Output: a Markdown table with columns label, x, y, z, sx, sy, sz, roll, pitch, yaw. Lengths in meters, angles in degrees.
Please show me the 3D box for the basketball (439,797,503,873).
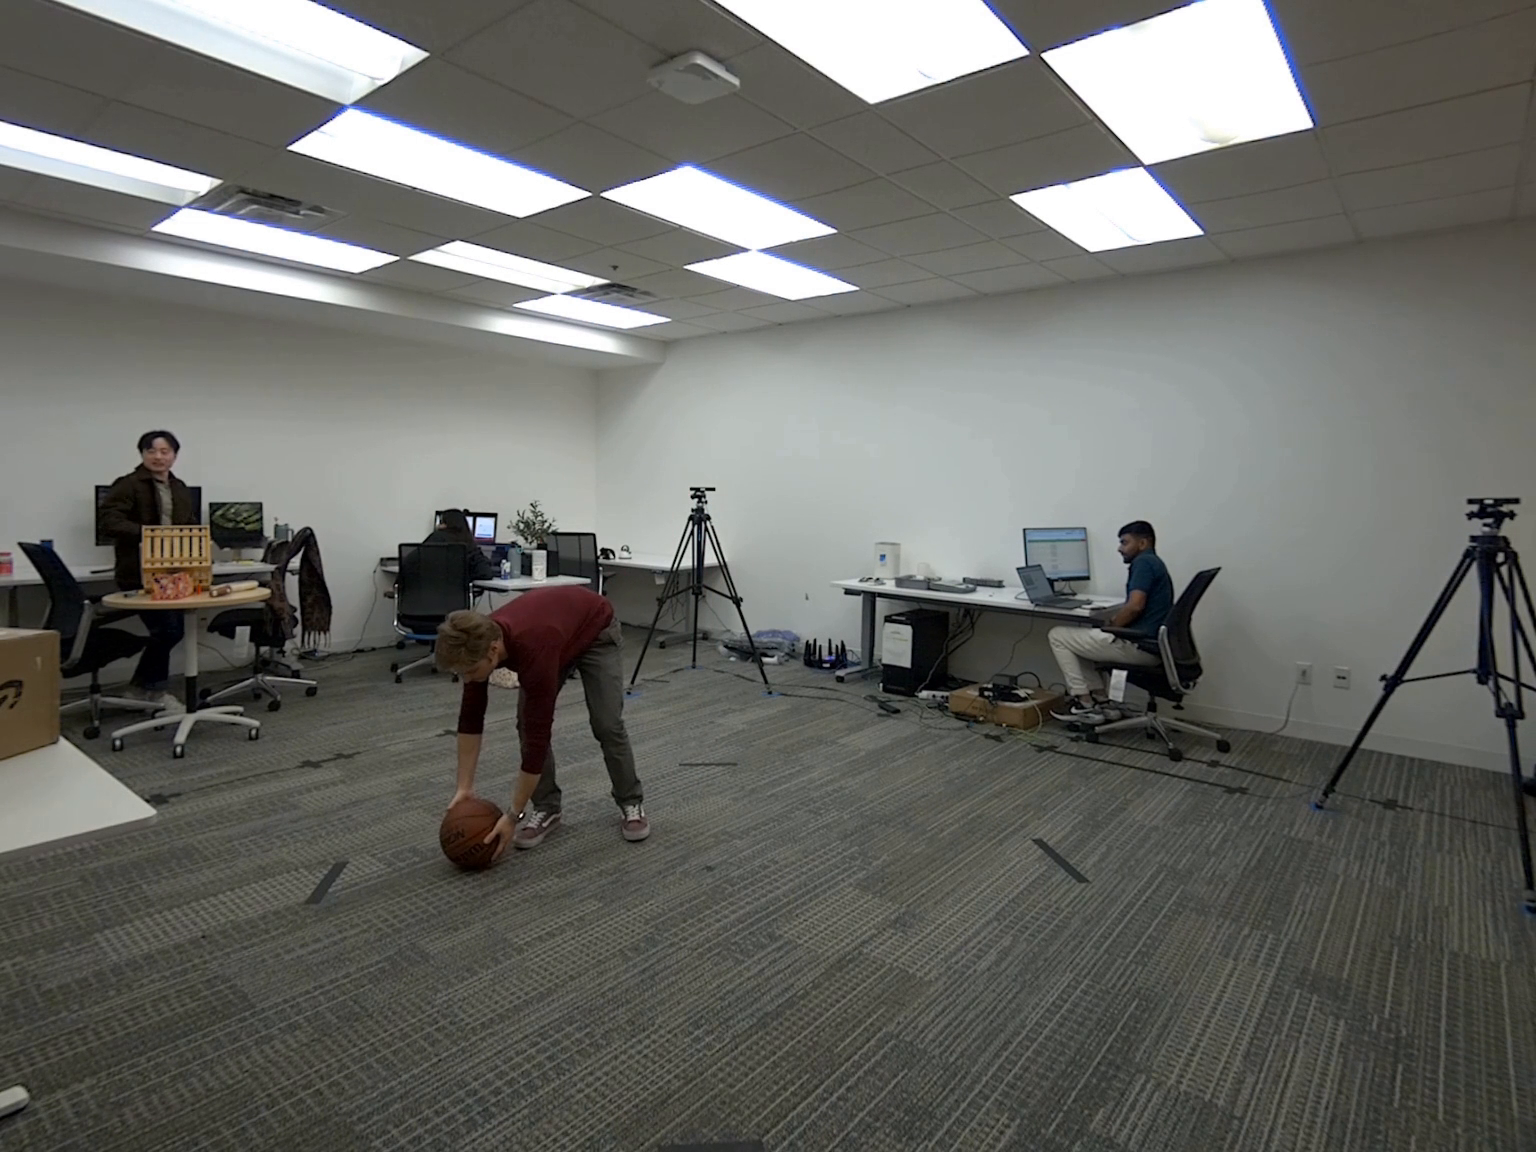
| label | x | y | z | sx | sy | sz | roll | pitch | yaw |
| --- | --- | --- | --- | --- | --- | --- | --- | --- | --- |
| basketball | -1.088 | 0.931 | 3.103 | 0.235 | 0.235 | 0.237 | 1 | 4 | -2 |
